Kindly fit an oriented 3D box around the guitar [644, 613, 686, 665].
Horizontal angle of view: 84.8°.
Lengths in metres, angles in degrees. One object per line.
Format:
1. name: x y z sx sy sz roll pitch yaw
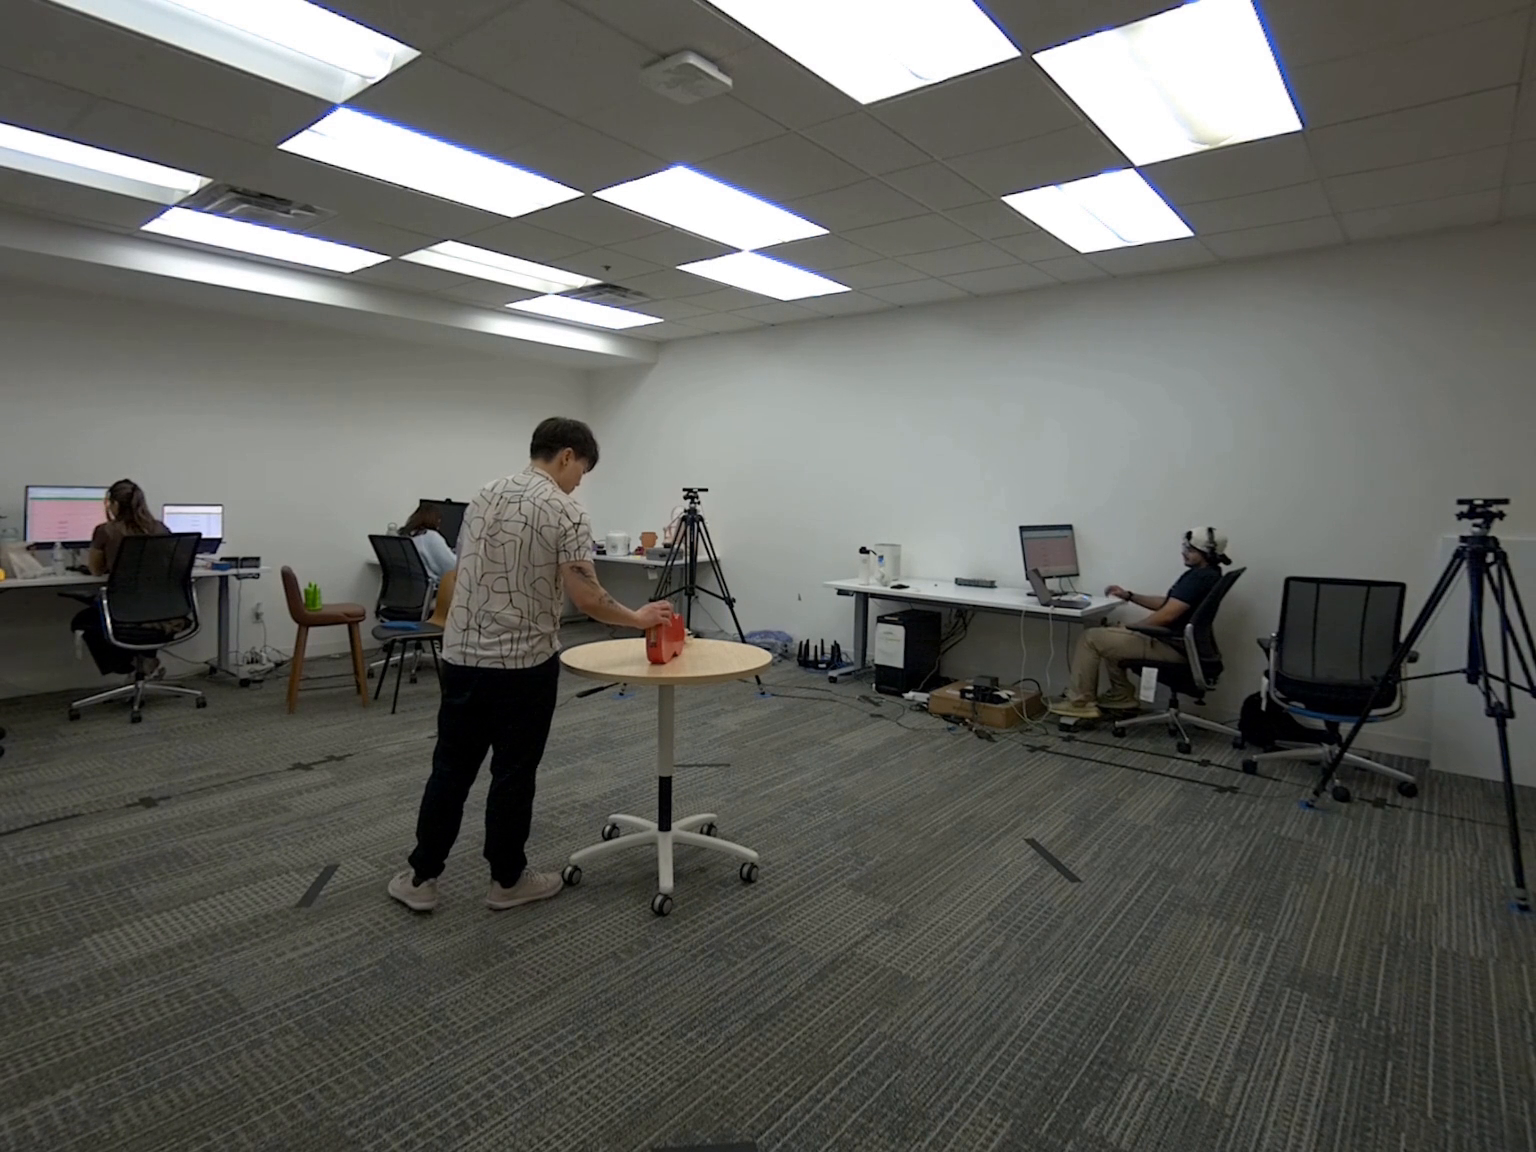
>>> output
1. guitar: -0.355 0.190 3.125 0.071 0.192 0.494 -1 4 8
